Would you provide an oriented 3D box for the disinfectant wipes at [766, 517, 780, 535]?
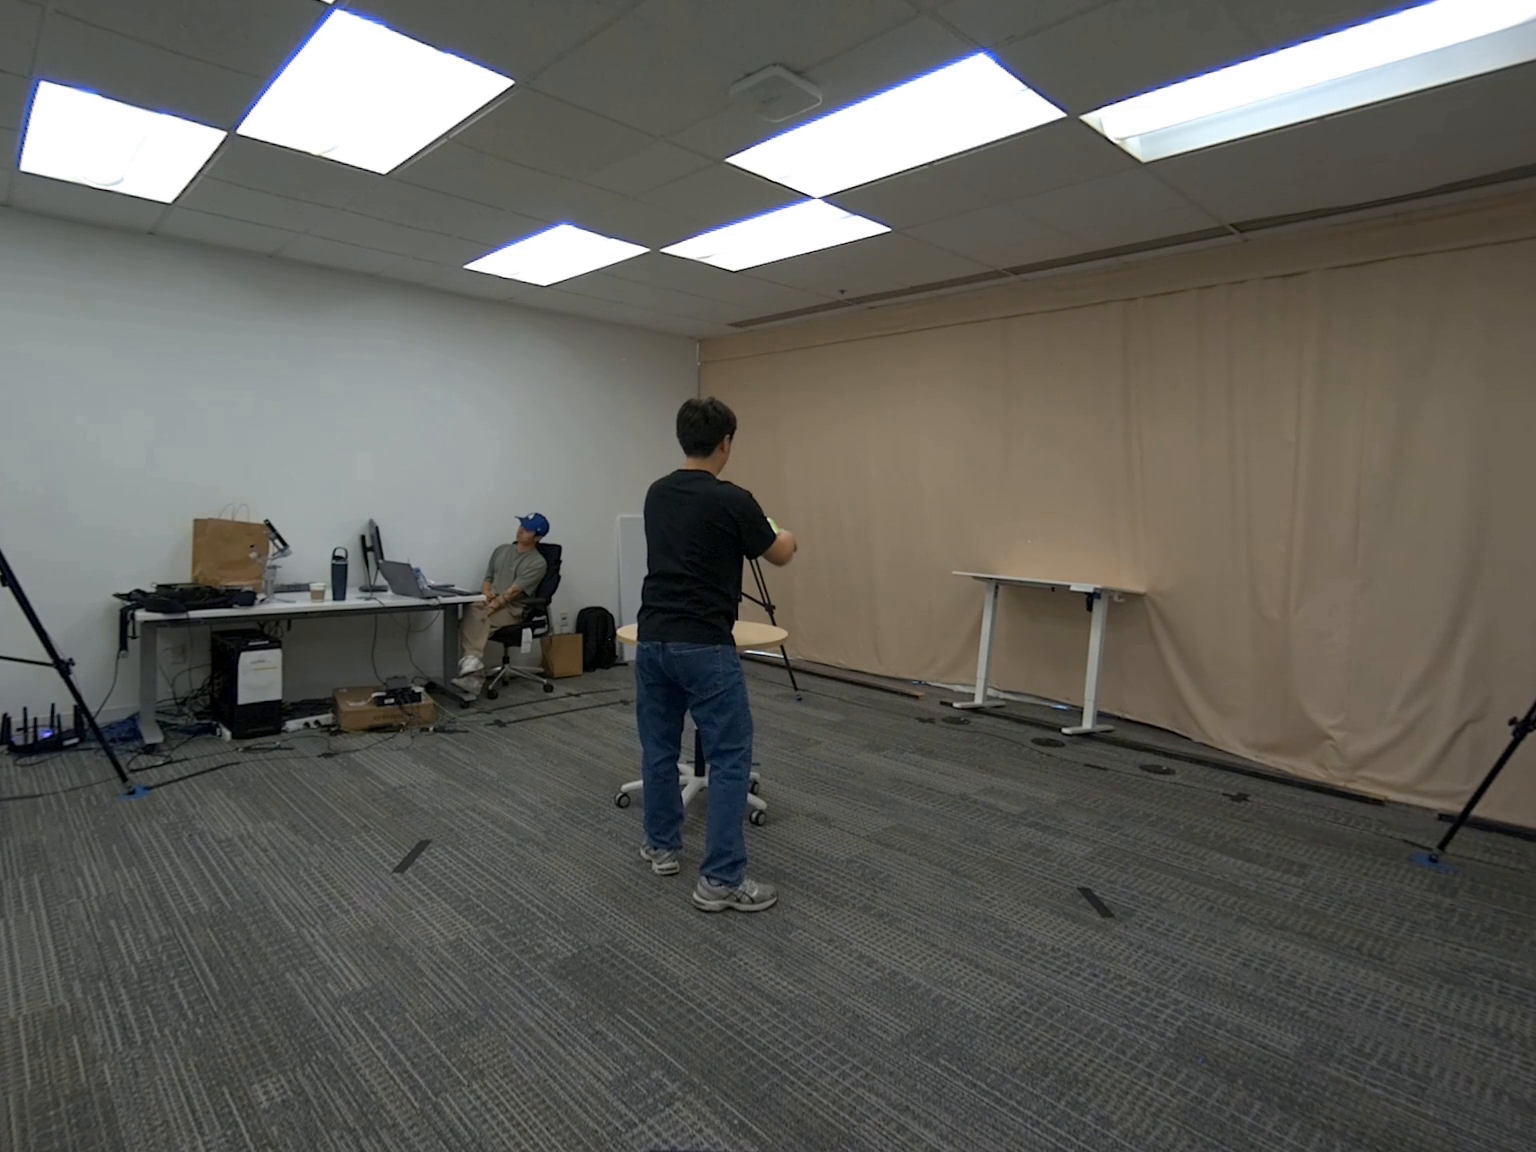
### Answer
[{"bbox_3d":[0.026,-0.131,3.411,0.116,0.116,0.224,-1,36,-24],"label":"disinfectant wipes"}]
